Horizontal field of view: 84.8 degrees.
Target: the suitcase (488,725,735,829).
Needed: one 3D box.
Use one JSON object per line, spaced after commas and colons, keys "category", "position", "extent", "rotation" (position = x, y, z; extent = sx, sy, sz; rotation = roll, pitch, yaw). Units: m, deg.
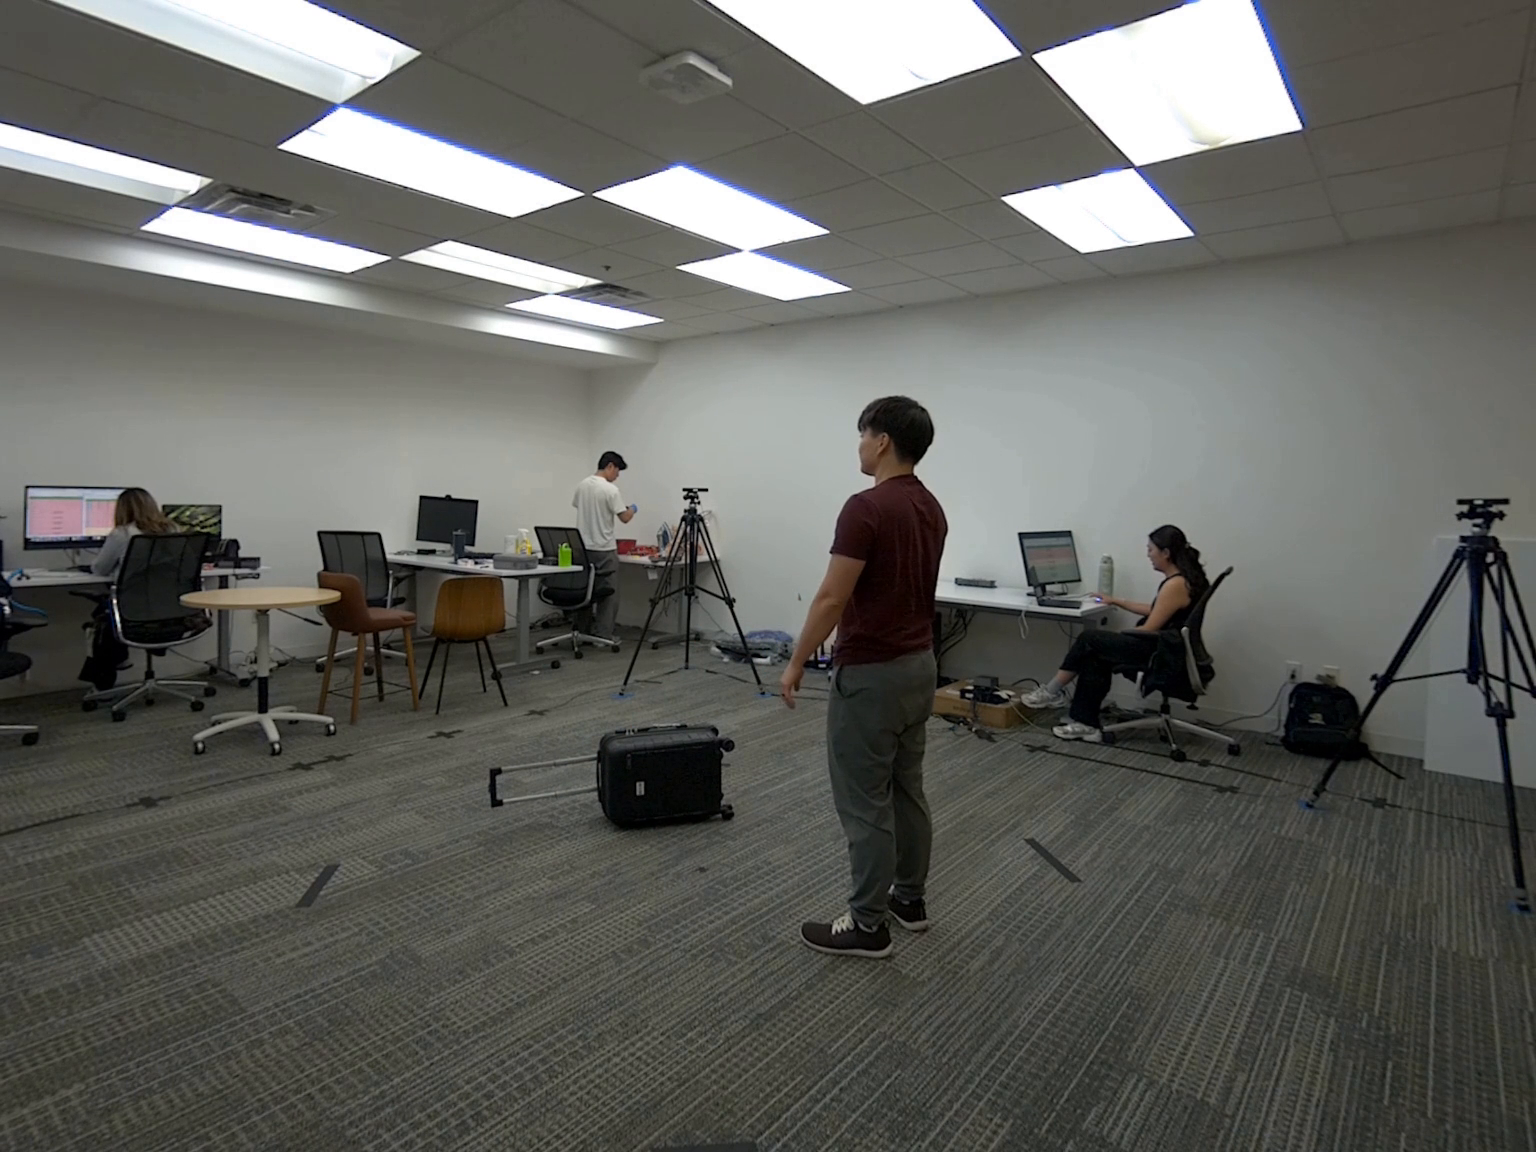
{"category": "suitcase", "position": [-0.644, 0.836, 3.514], "extent": [0.958, 0.383, 0.263], "rotation": [-2, 4, -21]}
